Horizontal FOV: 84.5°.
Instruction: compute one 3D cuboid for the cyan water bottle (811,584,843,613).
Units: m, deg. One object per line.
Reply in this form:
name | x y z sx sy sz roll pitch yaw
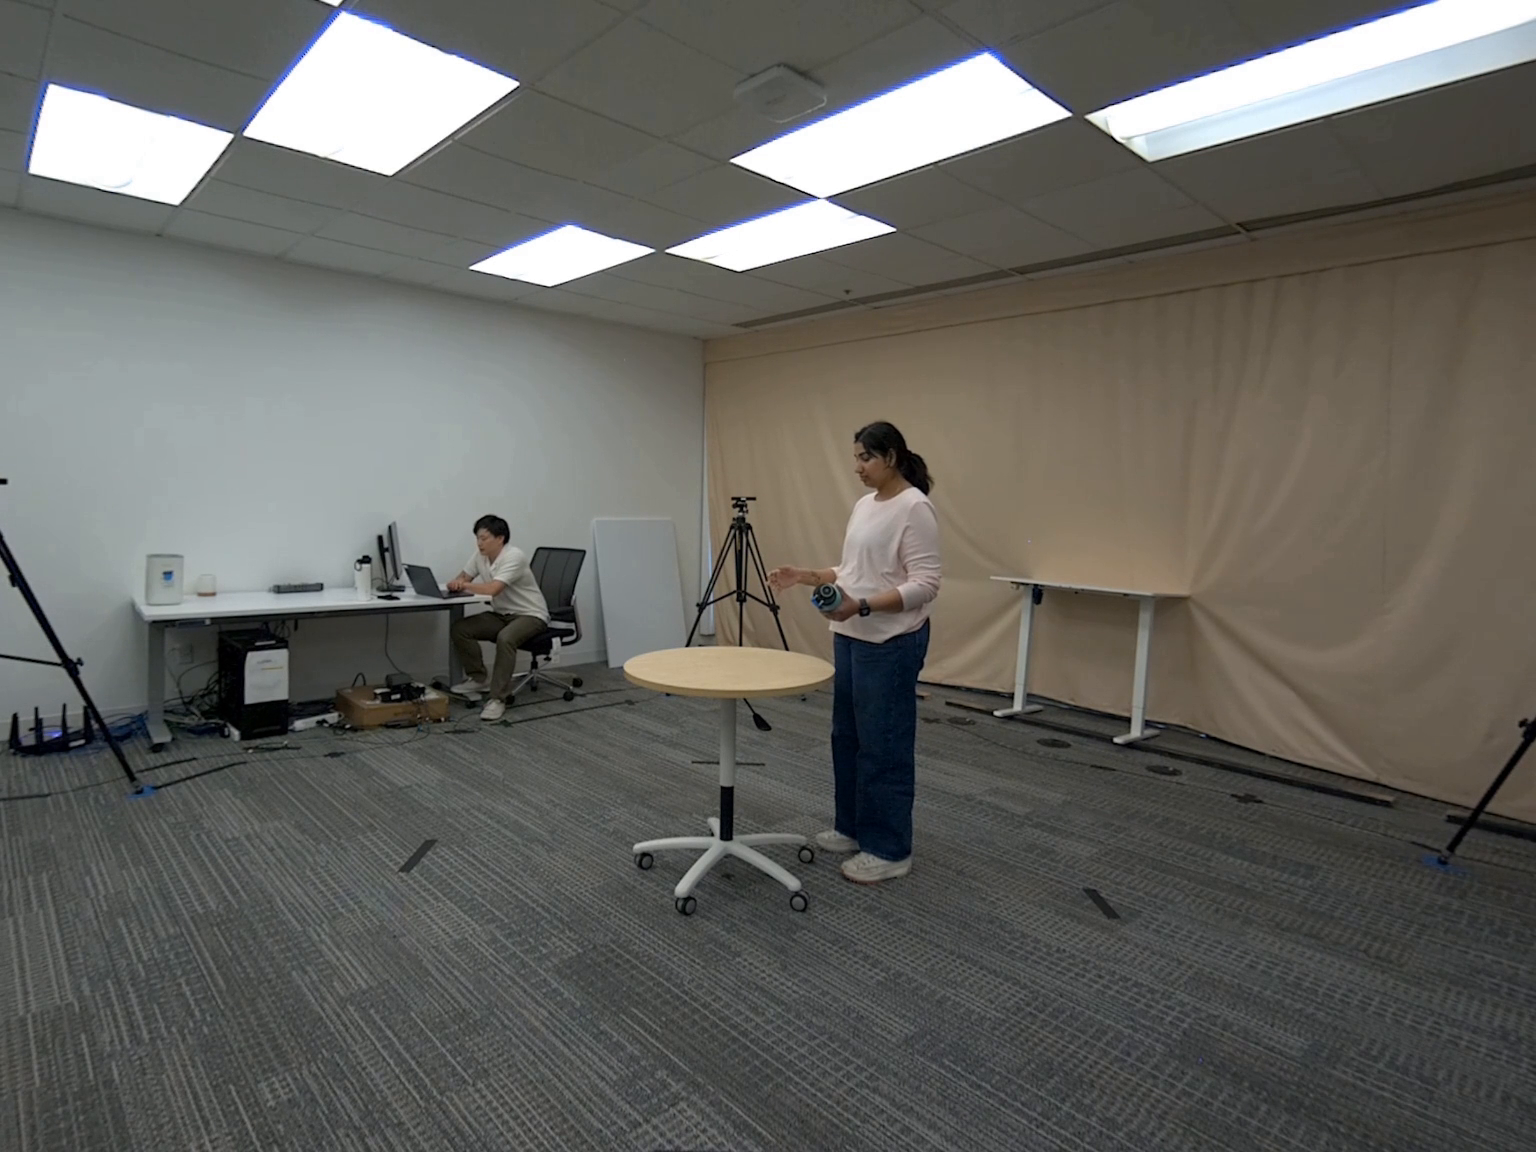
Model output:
cyan water bottle | 0.209 0.083 2.922 0.093 0.093 0.278 3 -8 15
